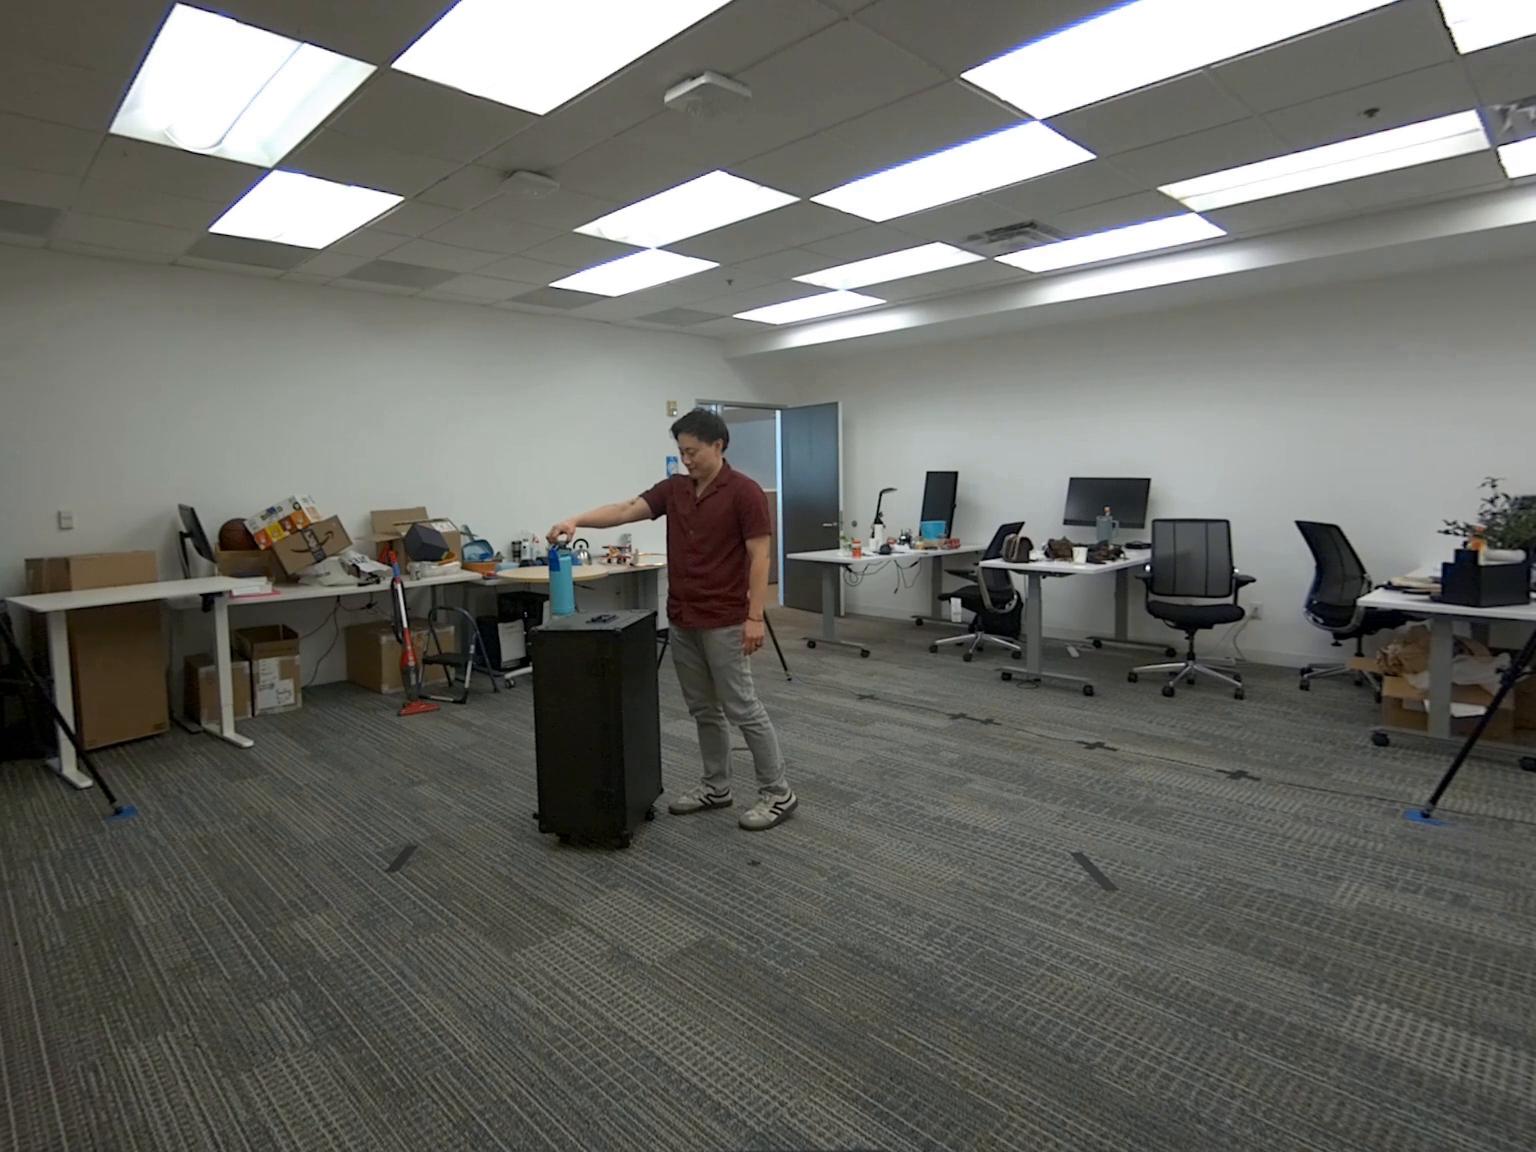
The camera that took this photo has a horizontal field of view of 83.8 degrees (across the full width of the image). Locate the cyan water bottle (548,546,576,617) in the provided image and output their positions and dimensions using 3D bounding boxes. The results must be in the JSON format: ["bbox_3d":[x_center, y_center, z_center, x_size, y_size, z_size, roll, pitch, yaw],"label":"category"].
[{"bbox_3d":[-0.800,0.008,3.298,0.092,0.281,0.093,-2,9,-1],"label":"cyan water bottle"}]
